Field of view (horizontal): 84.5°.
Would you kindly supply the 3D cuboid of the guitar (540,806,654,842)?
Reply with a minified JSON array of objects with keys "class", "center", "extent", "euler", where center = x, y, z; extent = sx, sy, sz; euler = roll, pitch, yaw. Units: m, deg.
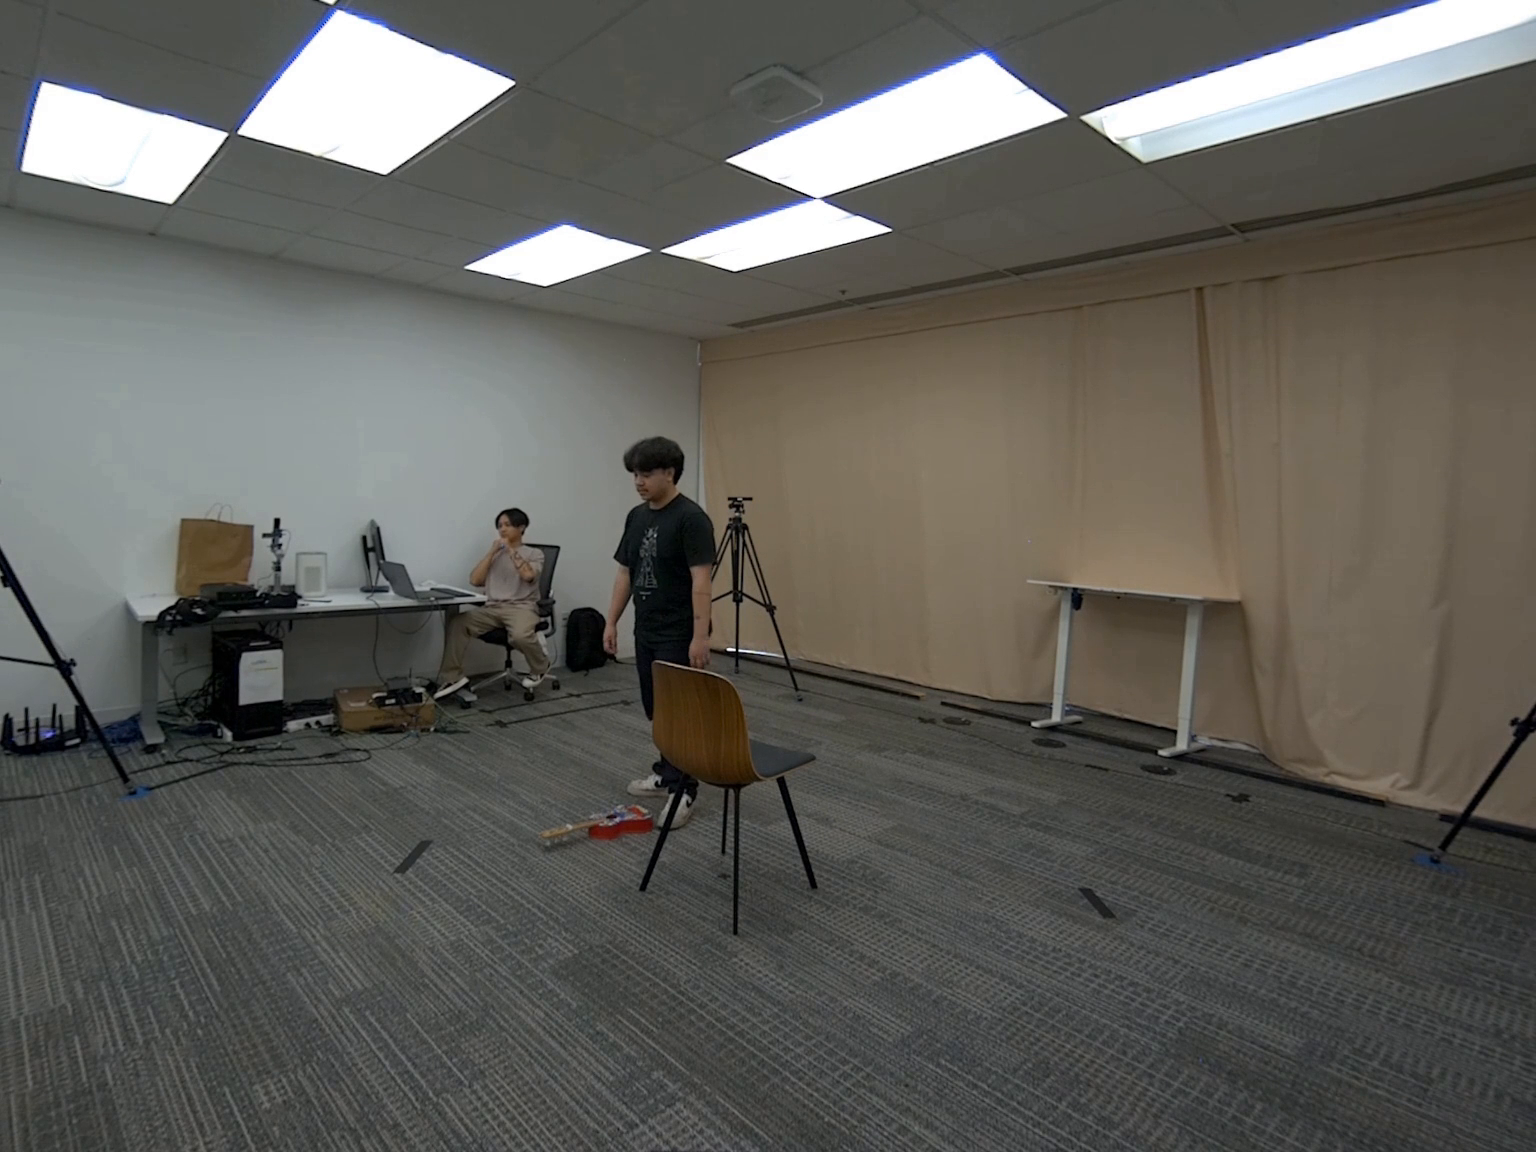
[{"class":"guitar","center":[-0.732,1.029,3.473],"extent":[0.487,0.070,0.198],"euler":[-2,7,-32]}]
